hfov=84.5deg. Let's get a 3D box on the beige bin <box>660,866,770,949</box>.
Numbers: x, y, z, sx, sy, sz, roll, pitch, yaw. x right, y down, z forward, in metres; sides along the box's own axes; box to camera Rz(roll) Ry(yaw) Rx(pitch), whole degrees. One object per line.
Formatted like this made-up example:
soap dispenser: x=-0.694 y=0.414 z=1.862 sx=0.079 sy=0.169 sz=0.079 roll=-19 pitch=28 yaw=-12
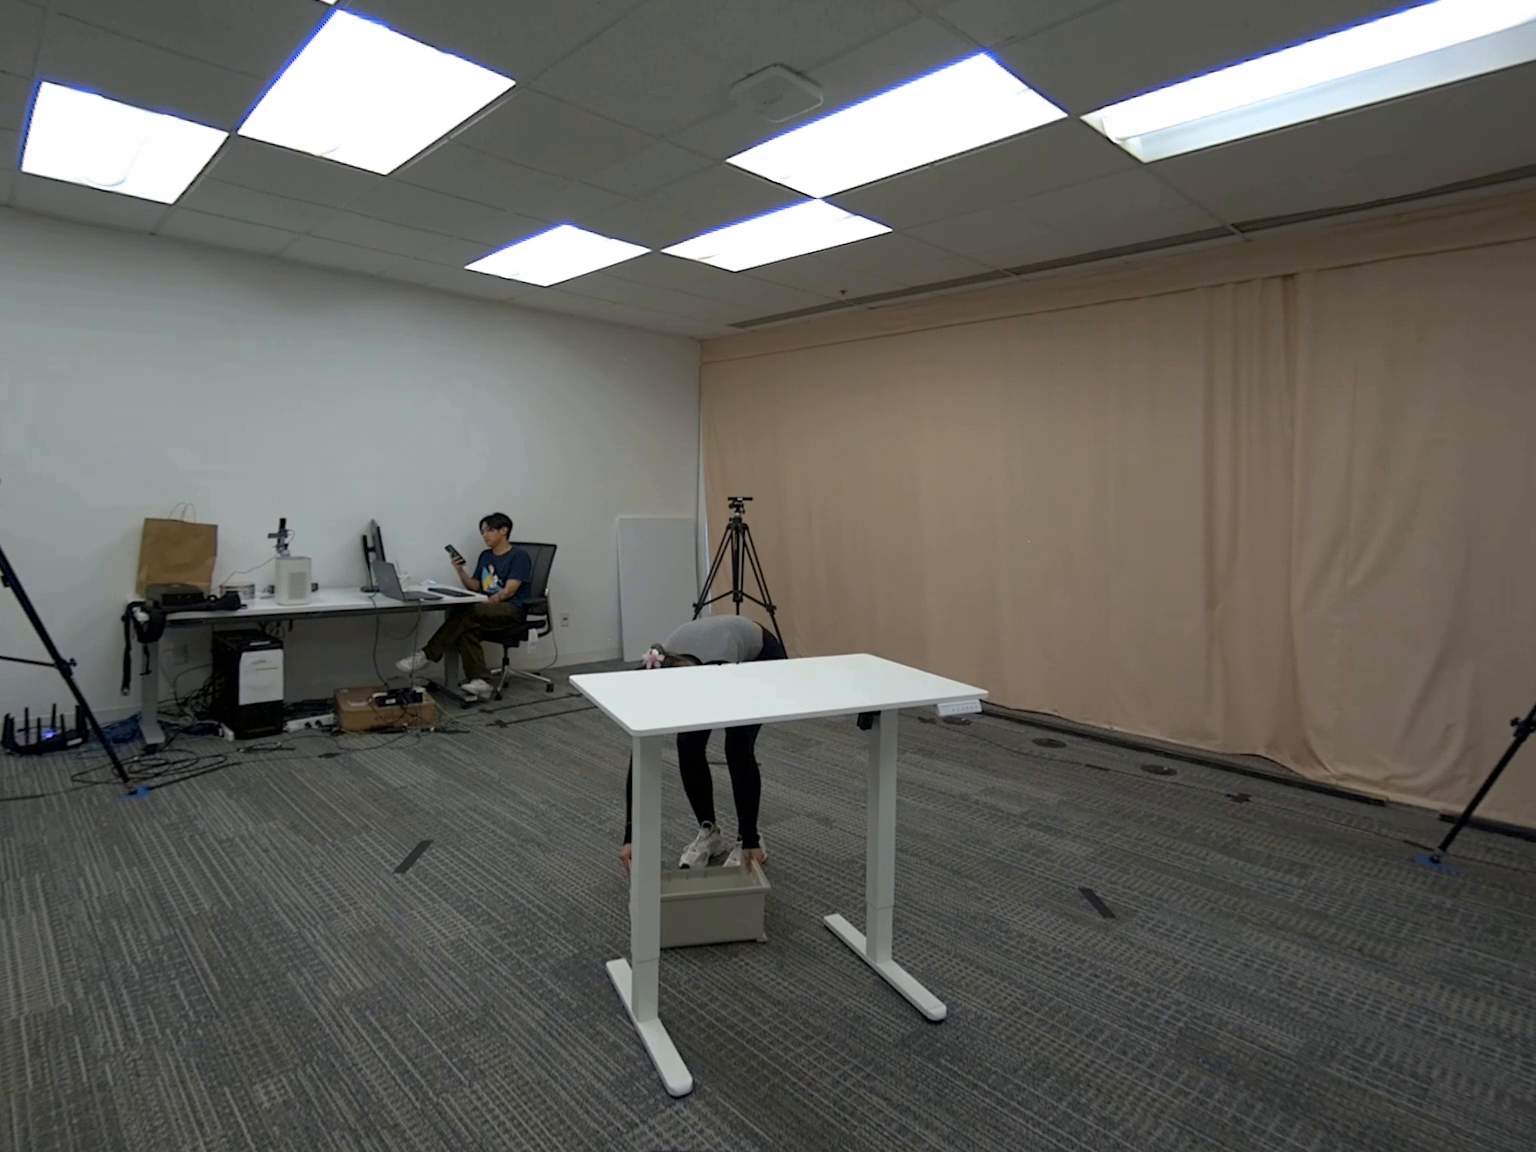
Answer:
beige bin: x=-0.244 y=1.039 z=2.766 sx=0.418 sy=0.188 sz=0.382 roll=1 pitch=5 yaw=-13
